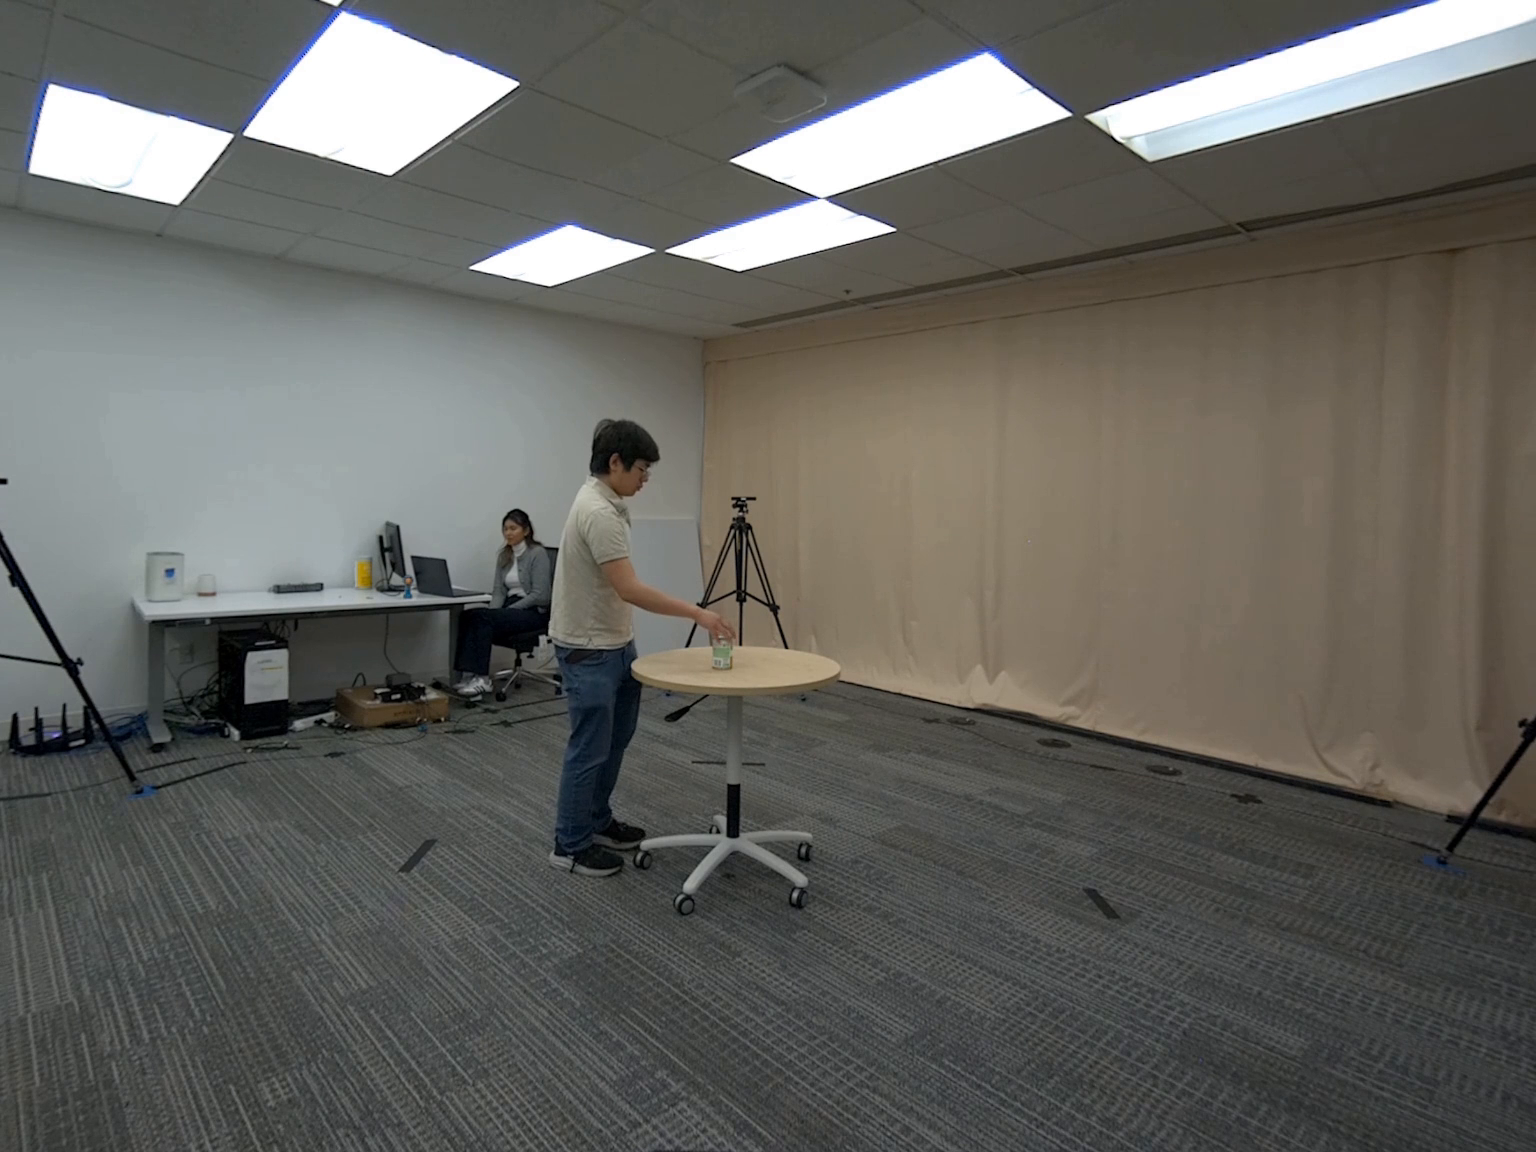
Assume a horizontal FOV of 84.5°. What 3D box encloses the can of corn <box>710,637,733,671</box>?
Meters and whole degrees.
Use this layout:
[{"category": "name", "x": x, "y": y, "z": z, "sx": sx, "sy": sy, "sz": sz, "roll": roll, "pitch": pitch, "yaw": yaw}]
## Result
[{"category": "can of corn", "x": -0.173, "y": 0.276, "z": 3.012, "sx": 0.074, "sy": 0.110, "sz": 0.074, "roll": 1, "pitch": 6, "yaw": -1}]
